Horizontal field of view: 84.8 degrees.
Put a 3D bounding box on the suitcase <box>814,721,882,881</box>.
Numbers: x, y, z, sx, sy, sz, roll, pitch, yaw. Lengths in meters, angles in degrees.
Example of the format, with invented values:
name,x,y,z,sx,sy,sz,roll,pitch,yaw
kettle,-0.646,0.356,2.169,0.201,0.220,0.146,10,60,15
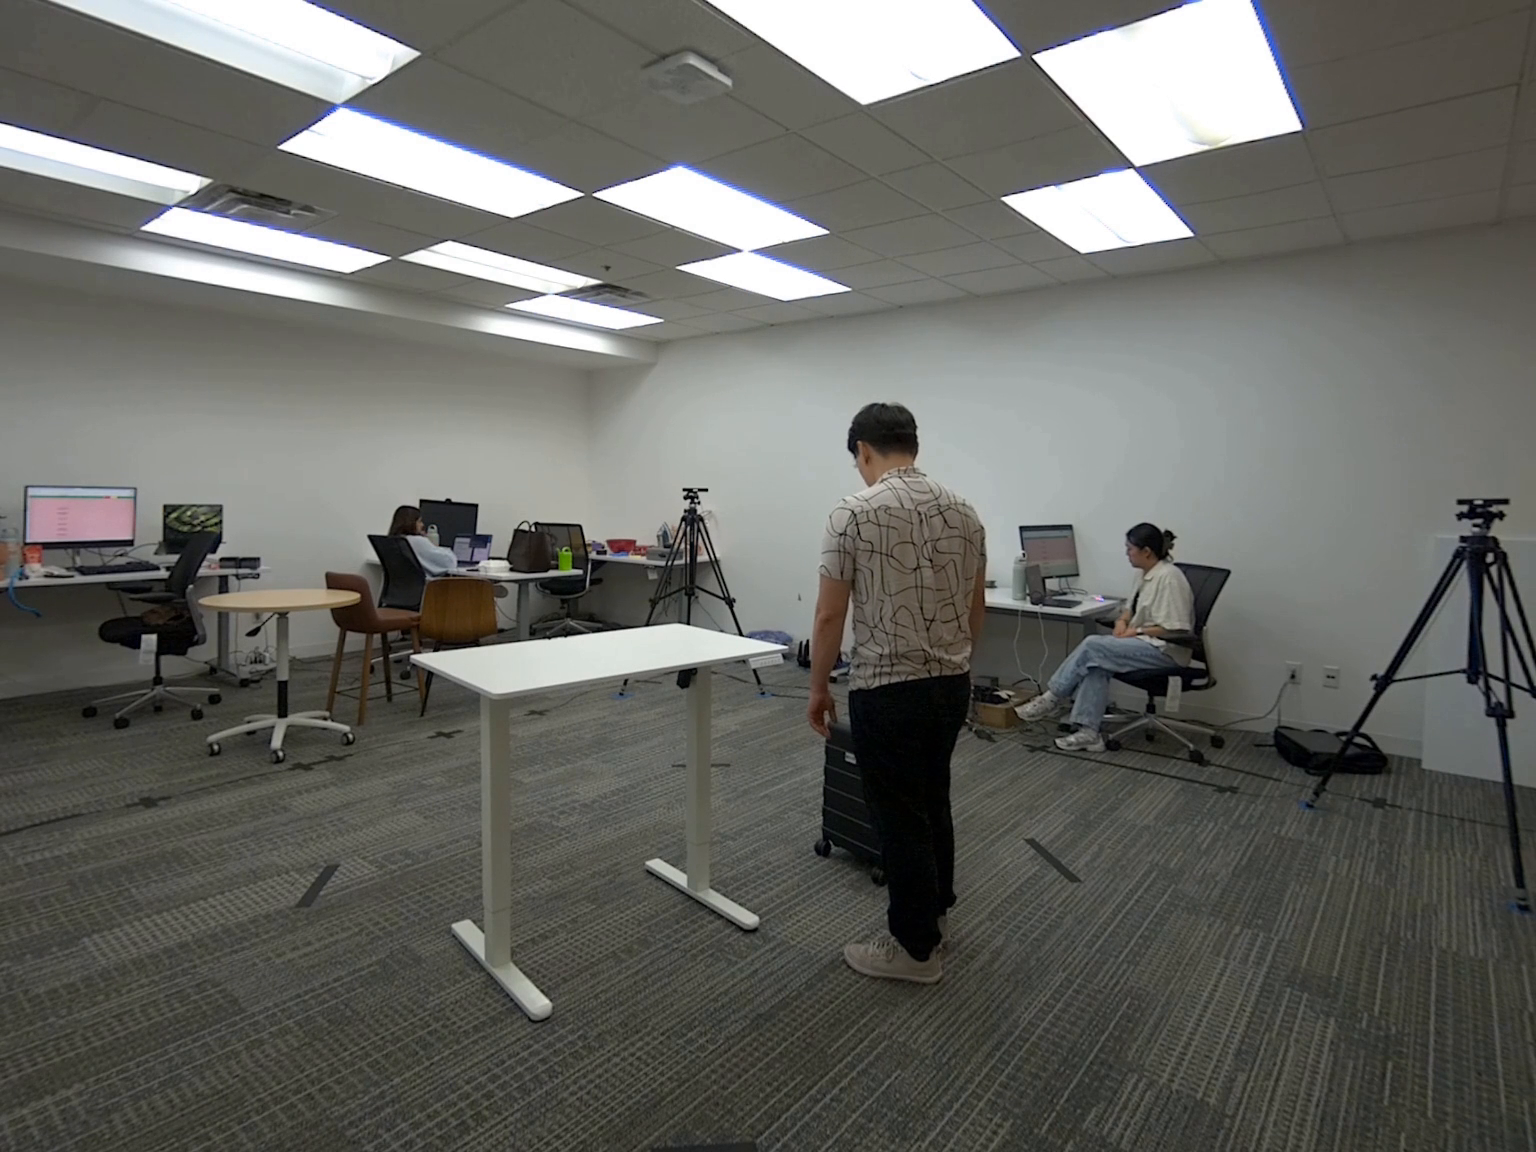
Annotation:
name,x,y,z,sx,sy,sz,roll,pitch,yaw
suitcase,0.395,0.796,3.216,0.240,0.548,0.388,0,3,-41
